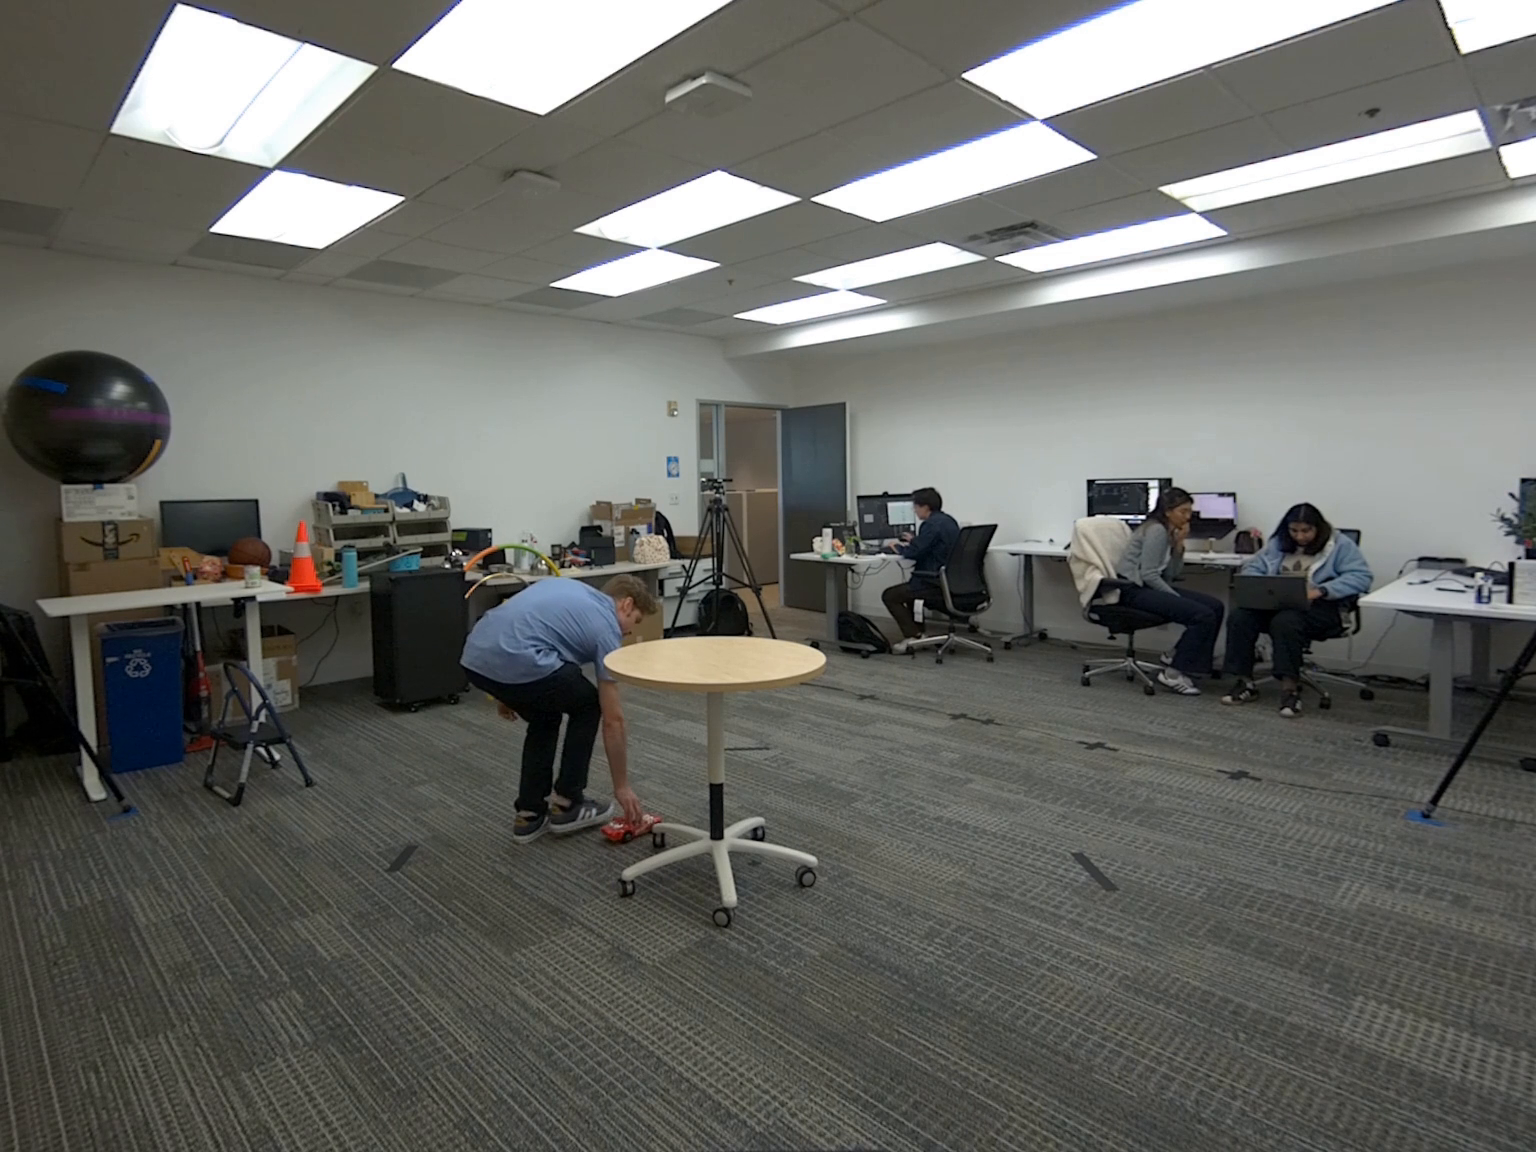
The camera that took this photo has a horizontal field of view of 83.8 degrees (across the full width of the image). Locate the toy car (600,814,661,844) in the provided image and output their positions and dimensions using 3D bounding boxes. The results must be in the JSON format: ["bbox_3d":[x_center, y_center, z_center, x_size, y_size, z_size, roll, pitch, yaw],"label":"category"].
[{"bbox_3d":[-0.541,0.993,3.363,0.246,0.083,0.134,10,-4,-41],"label":"toy car"}]
